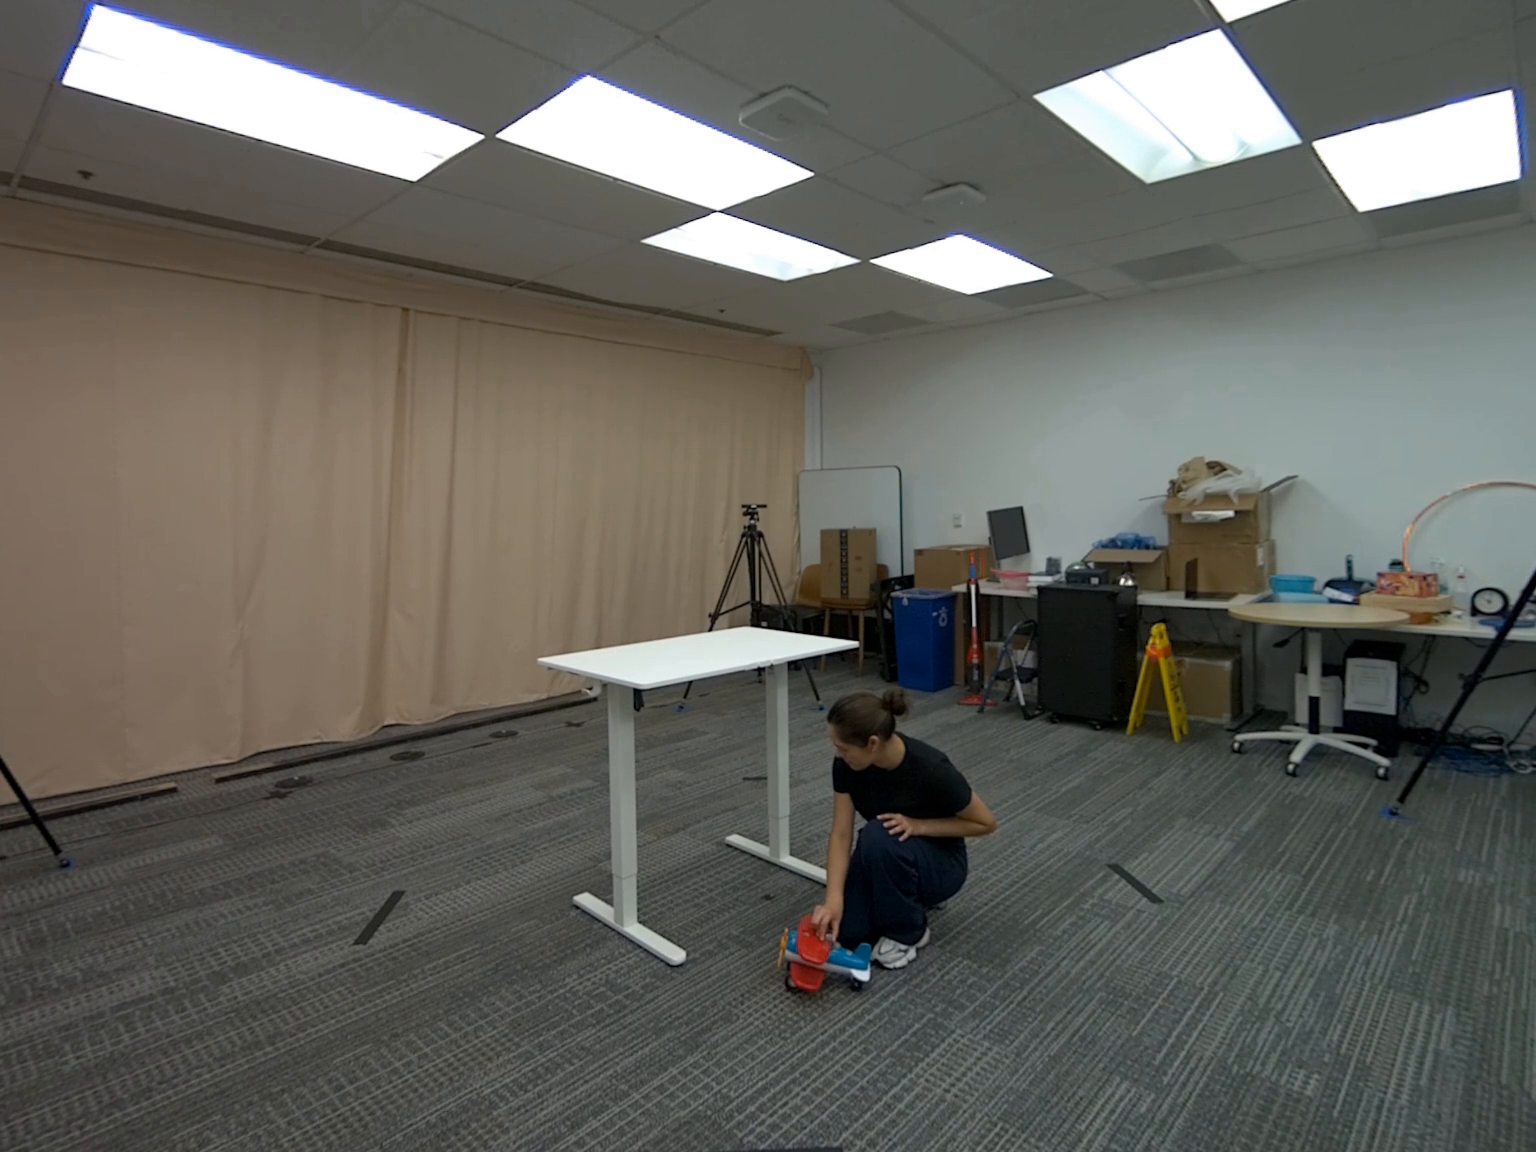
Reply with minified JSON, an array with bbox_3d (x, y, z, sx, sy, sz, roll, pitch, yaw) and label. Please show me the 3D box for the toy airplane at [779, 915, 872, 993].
[{"bbox_3d":[0.162,1.108,2.450,0.254,0.156,0.256,-3,4,-20],"label":"toy airplane"}]
